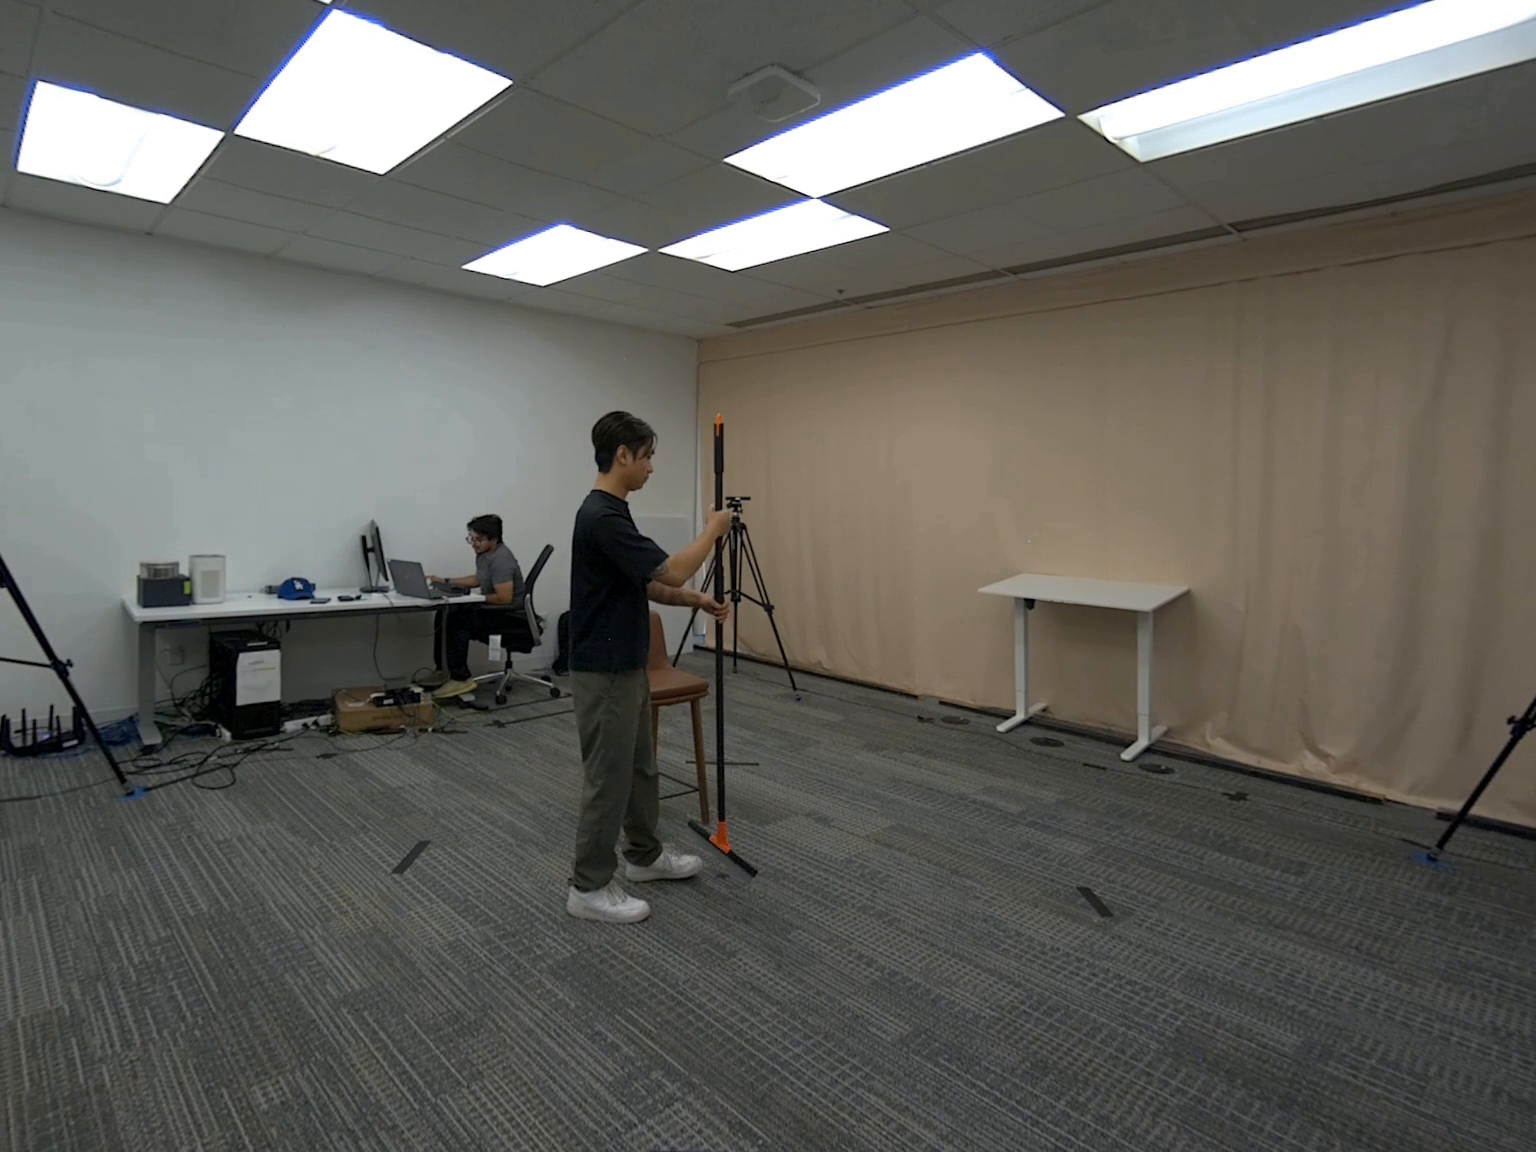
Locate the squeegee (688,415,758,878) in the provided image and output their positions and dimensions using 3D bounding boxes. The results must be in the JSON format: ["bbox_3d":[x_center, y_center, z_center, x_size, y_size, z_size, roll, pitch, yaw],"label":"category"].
[{"bbox_3d":[-0.162,0.237,2.889,0.052,1.531,0.448,-2,6,-29],"label":"squeegee"}]
